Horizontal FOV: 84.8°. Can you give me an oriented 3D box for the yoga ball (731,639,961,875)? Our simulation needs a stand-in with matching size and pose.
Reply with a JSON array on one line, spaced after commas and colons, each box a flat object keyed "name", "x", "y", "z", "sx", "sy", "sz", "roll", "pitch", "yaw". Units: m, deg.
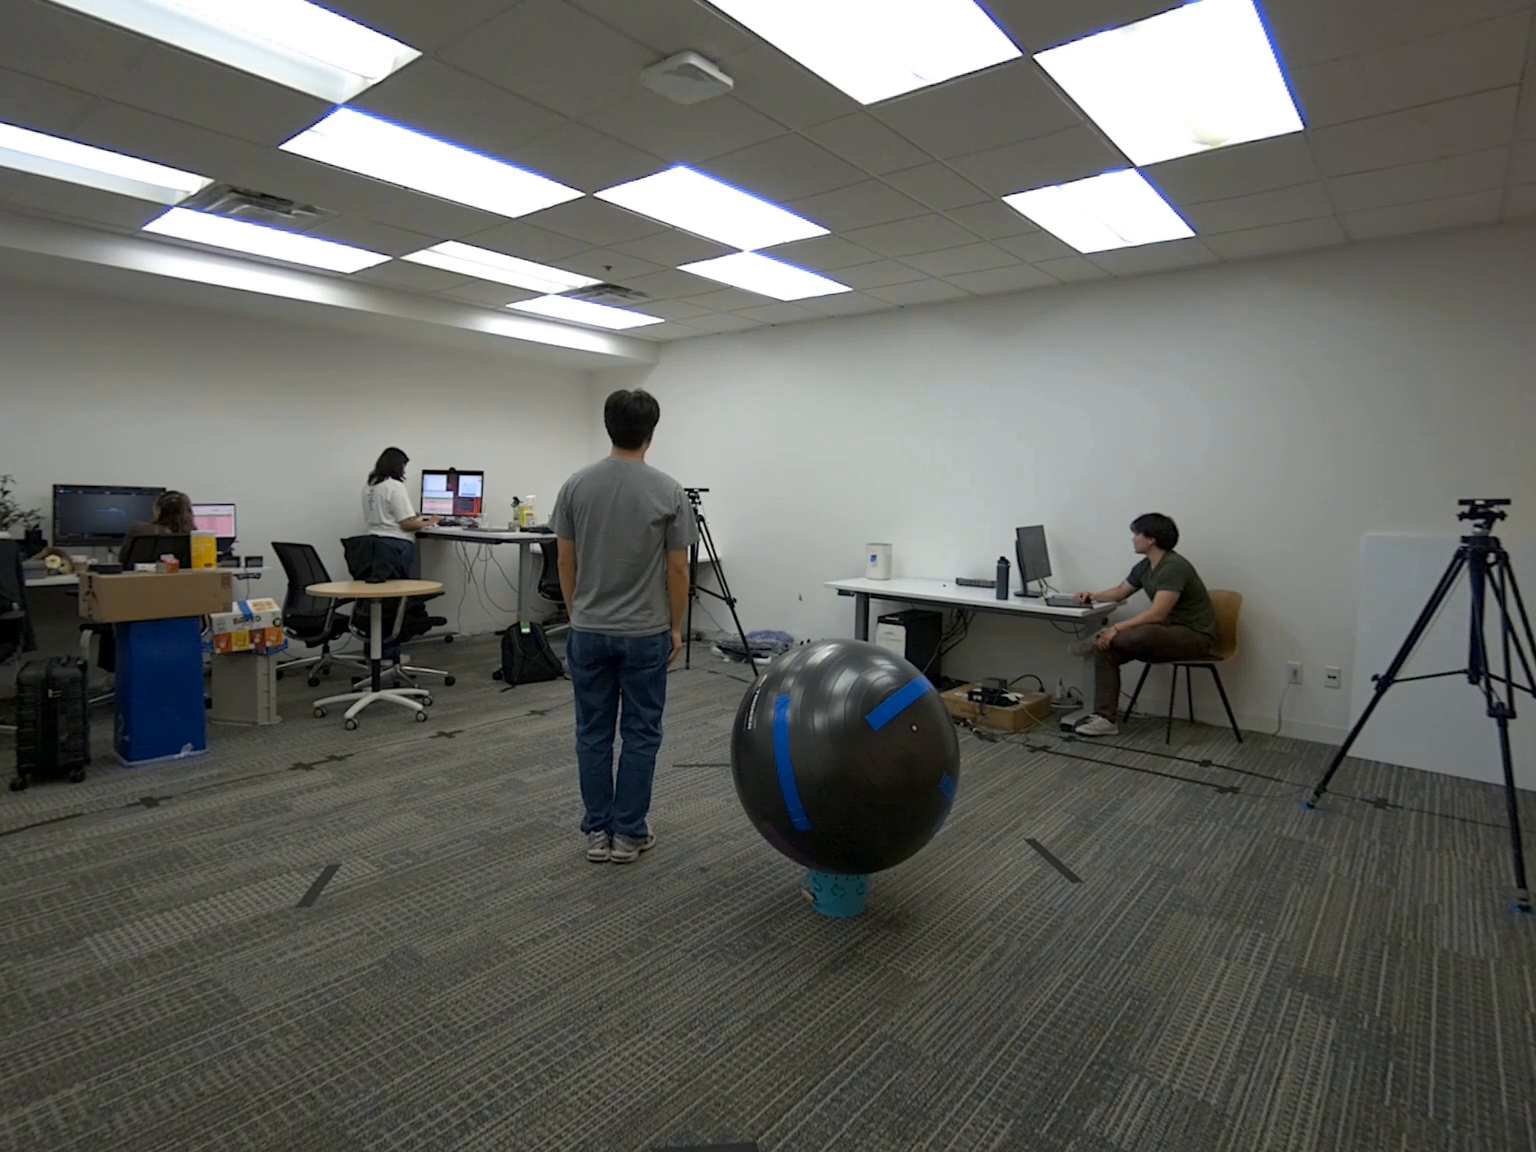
[{"name": "yoga ball", "x": 0.240, "y": 0.591, "z": 2.854, "sx": 0.757, "sy": 0.756, "sz": 0.762, "roll": 1, "pitch": 4, "yaw": -2}]
